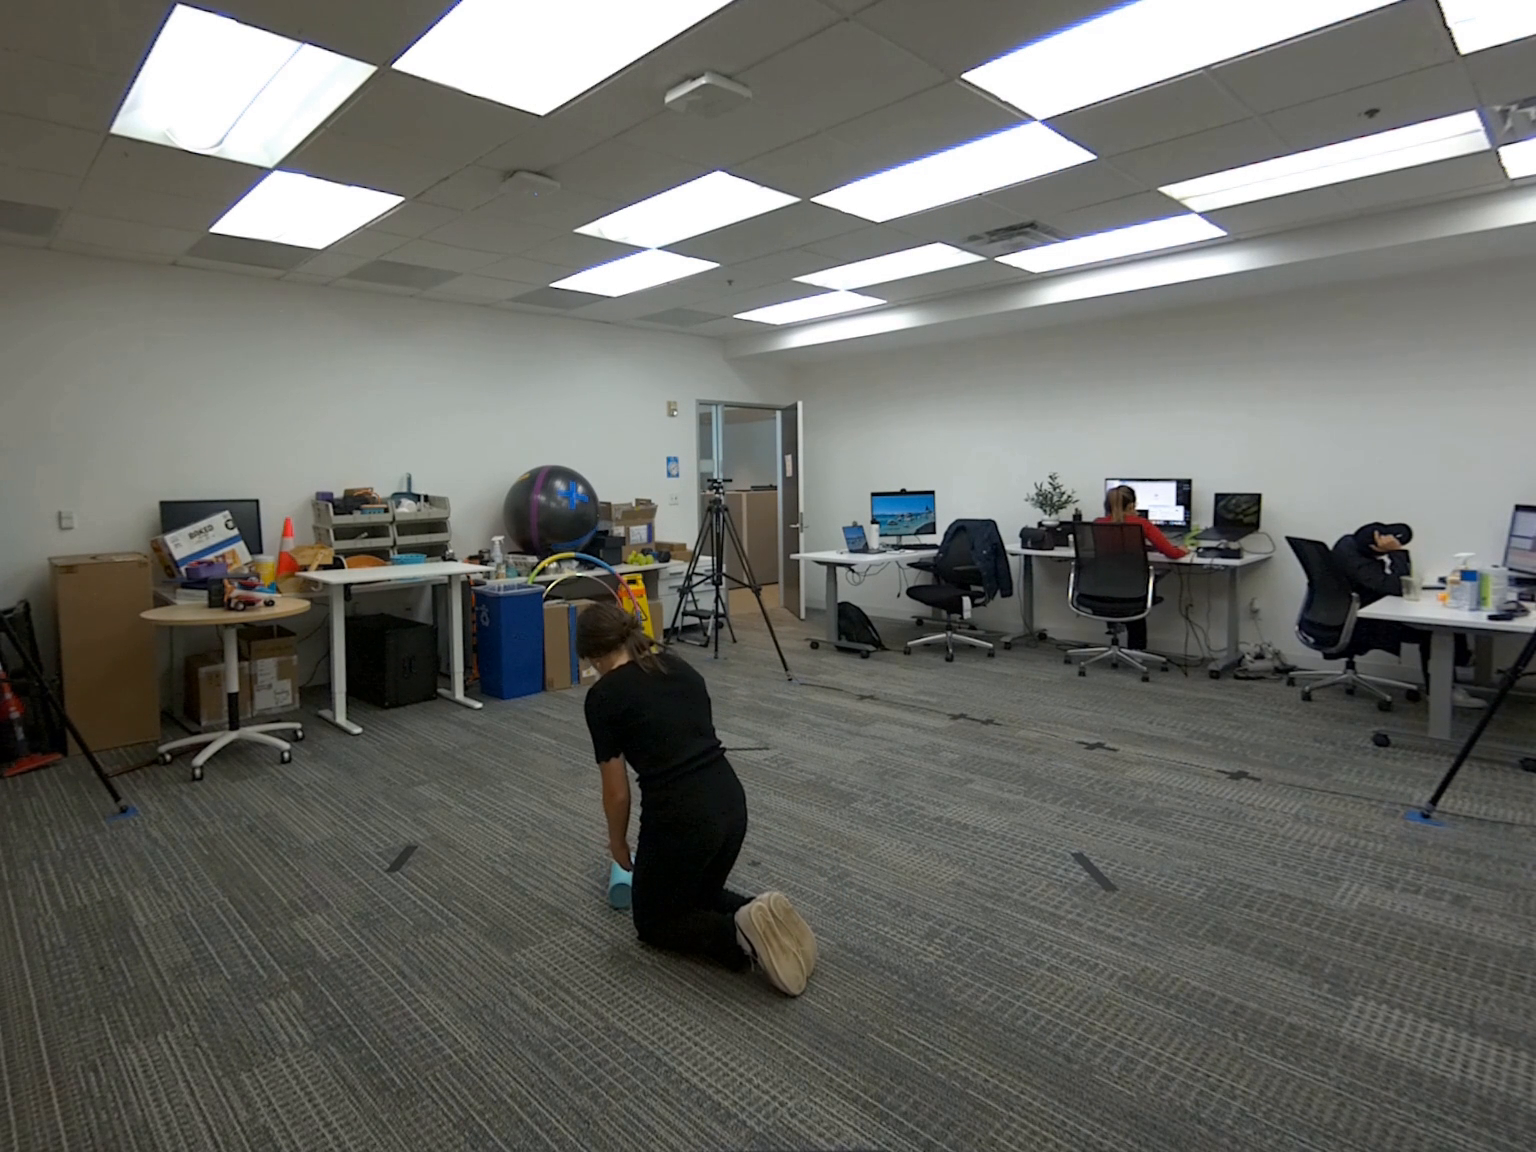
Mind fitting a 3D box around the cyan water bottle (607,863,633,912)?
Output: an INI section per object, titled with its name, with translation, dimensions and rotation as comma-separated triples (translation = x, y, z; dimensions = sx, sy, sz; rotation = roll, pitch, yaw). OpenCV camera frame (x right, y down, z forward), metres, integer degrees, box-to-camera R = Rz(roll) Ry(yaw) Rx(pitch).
[cyan water bottle]
translation = -0.490, 1.026, 2.929
dimensions = 0.092, 0.092, 0.286
rotation = -1, 6, -5
